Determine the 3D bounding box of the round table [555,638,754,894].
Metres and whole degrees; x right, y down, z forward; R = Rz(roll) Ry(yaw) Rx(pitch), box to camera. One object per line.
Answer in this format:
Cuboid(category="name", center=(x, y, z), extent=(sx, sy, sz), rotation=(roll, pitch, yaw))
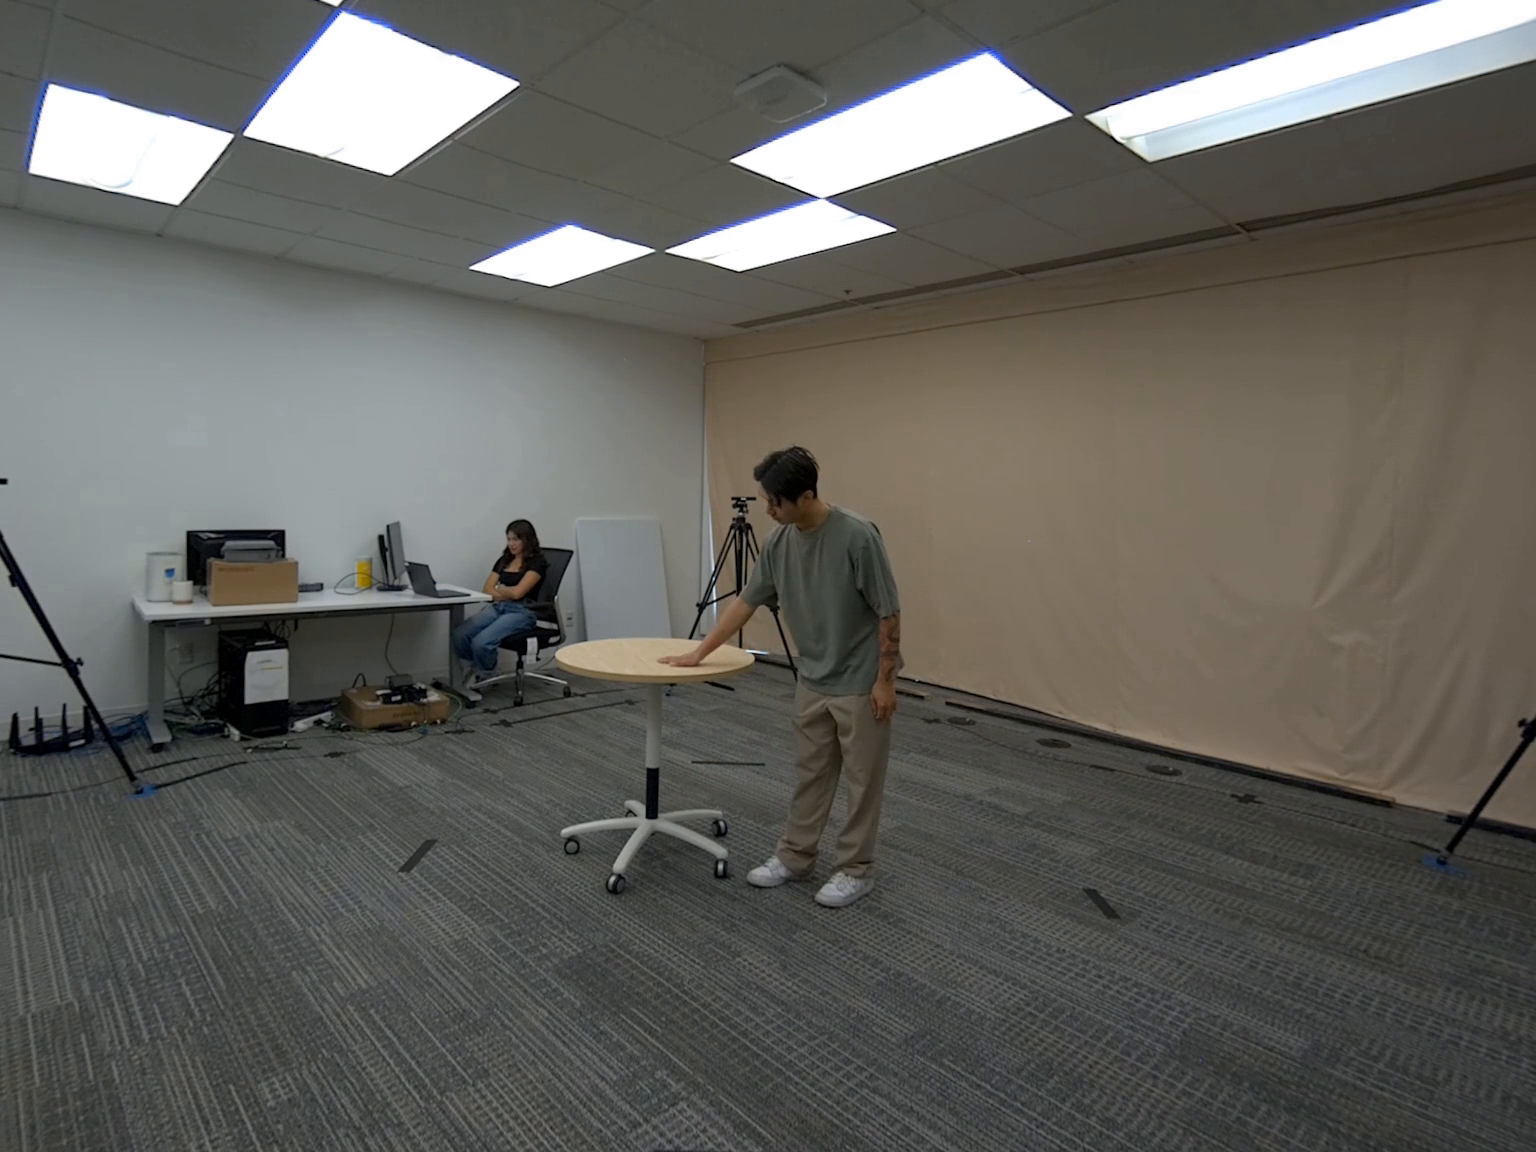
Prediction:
Cuboid(category="round table", center=(-0.457, 0.696, 3.275), extent=(0.763, 0.792, 0.766), rotation=(2, 4, -1))
